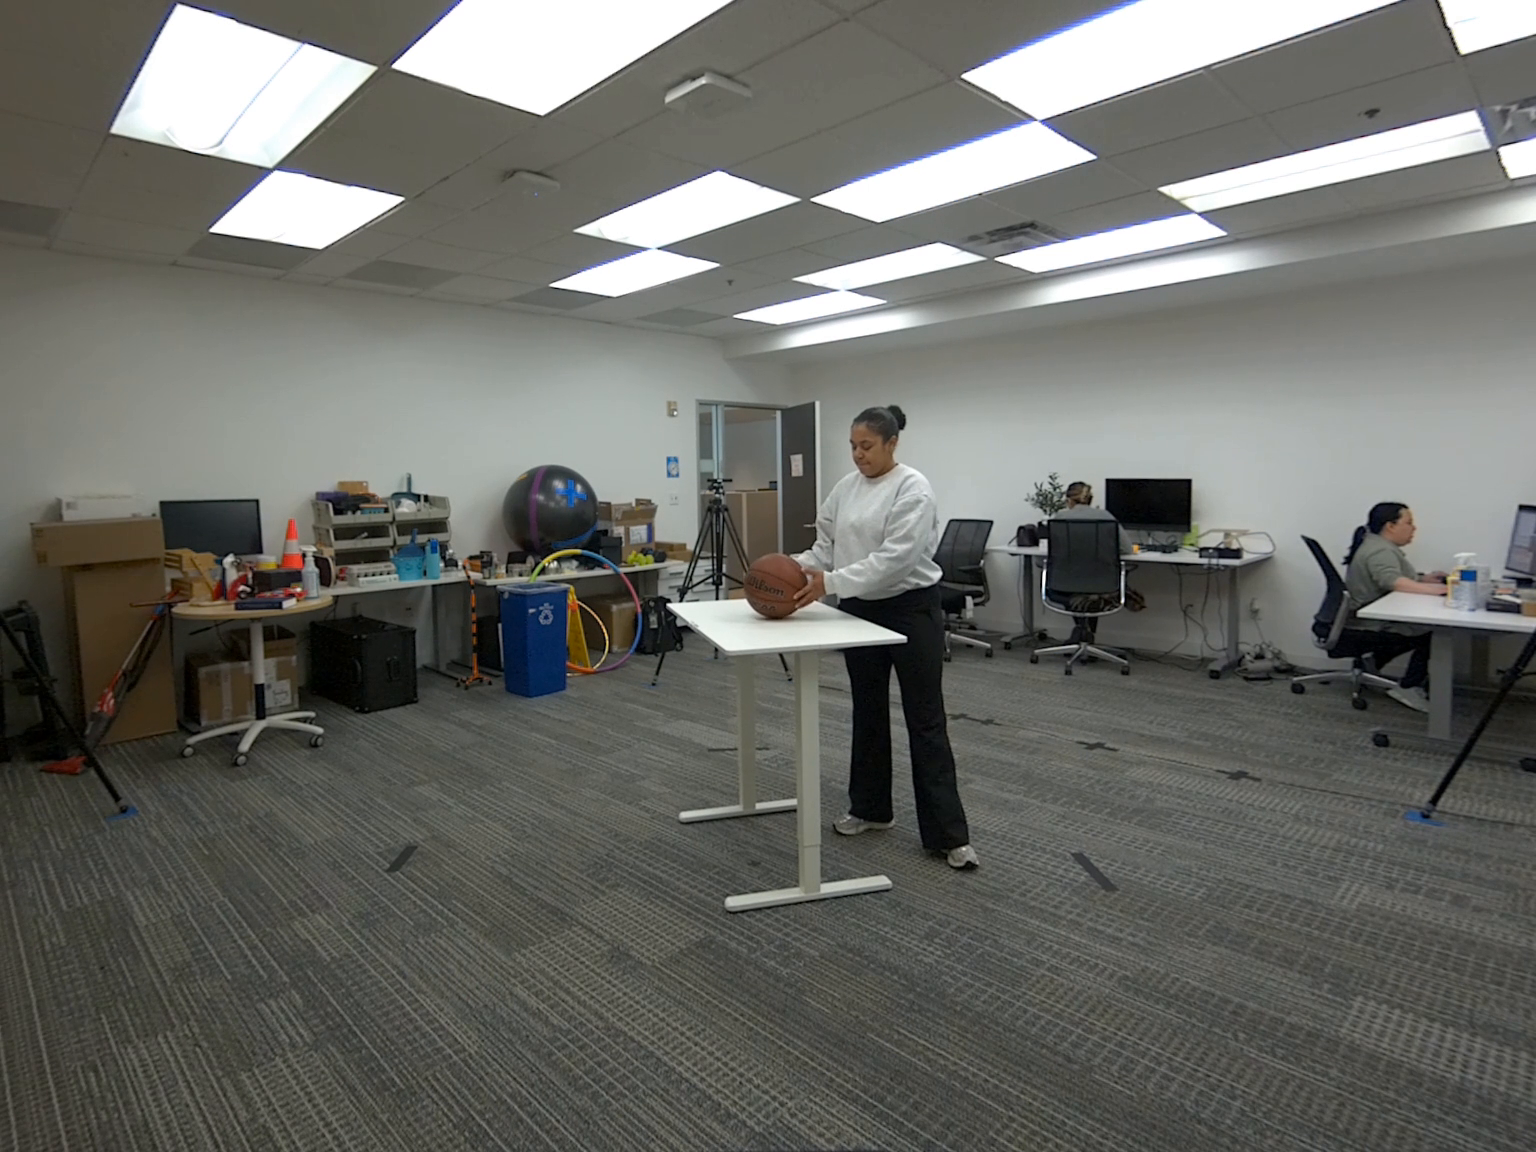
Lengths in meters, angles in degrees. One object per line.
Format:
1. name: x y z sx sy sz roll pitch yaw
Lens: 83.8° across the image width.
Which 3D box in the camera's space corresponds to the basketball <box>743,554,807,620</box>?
1. basketball: 0.041 0.028 3.165 0.236 0.235 0.237 -1 5 -2
